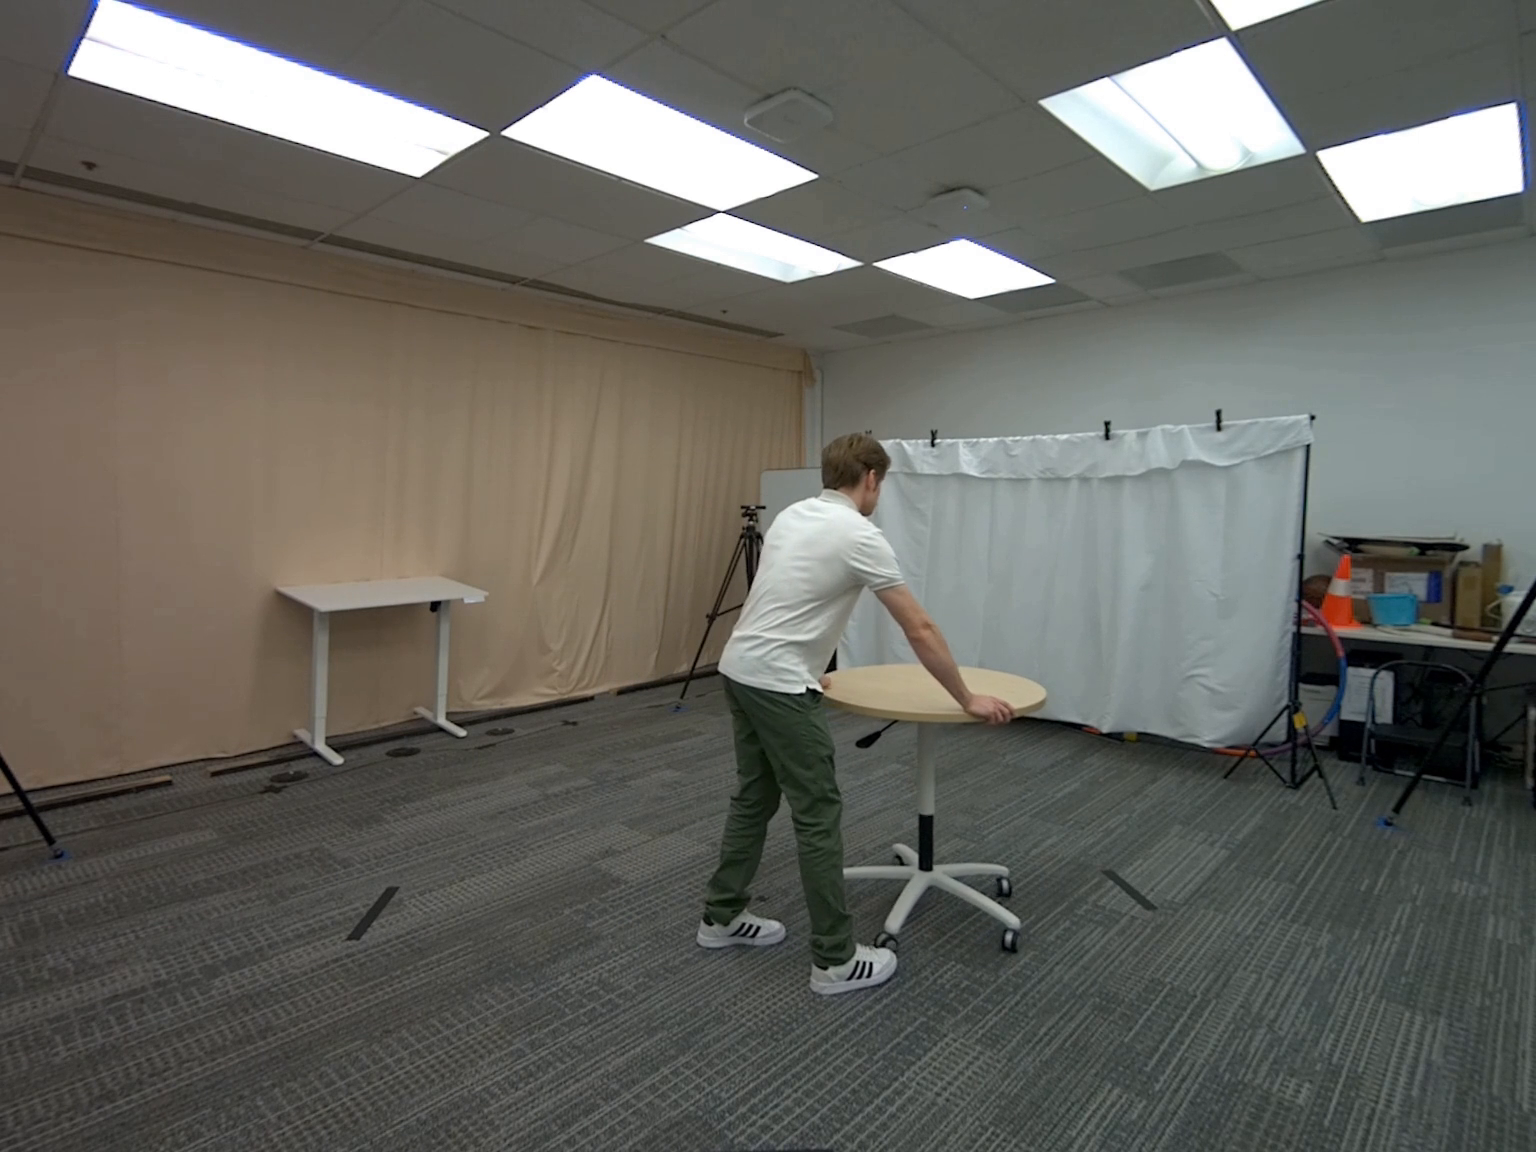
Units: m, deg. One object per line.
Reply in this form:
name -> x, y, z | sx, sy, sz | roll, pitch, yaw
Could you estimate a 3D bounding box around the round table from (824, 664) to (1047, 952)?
round table -> 0.547, 0.765, 2.888 | 0.763, 0.792, 0.767 | 0, 4, -2
